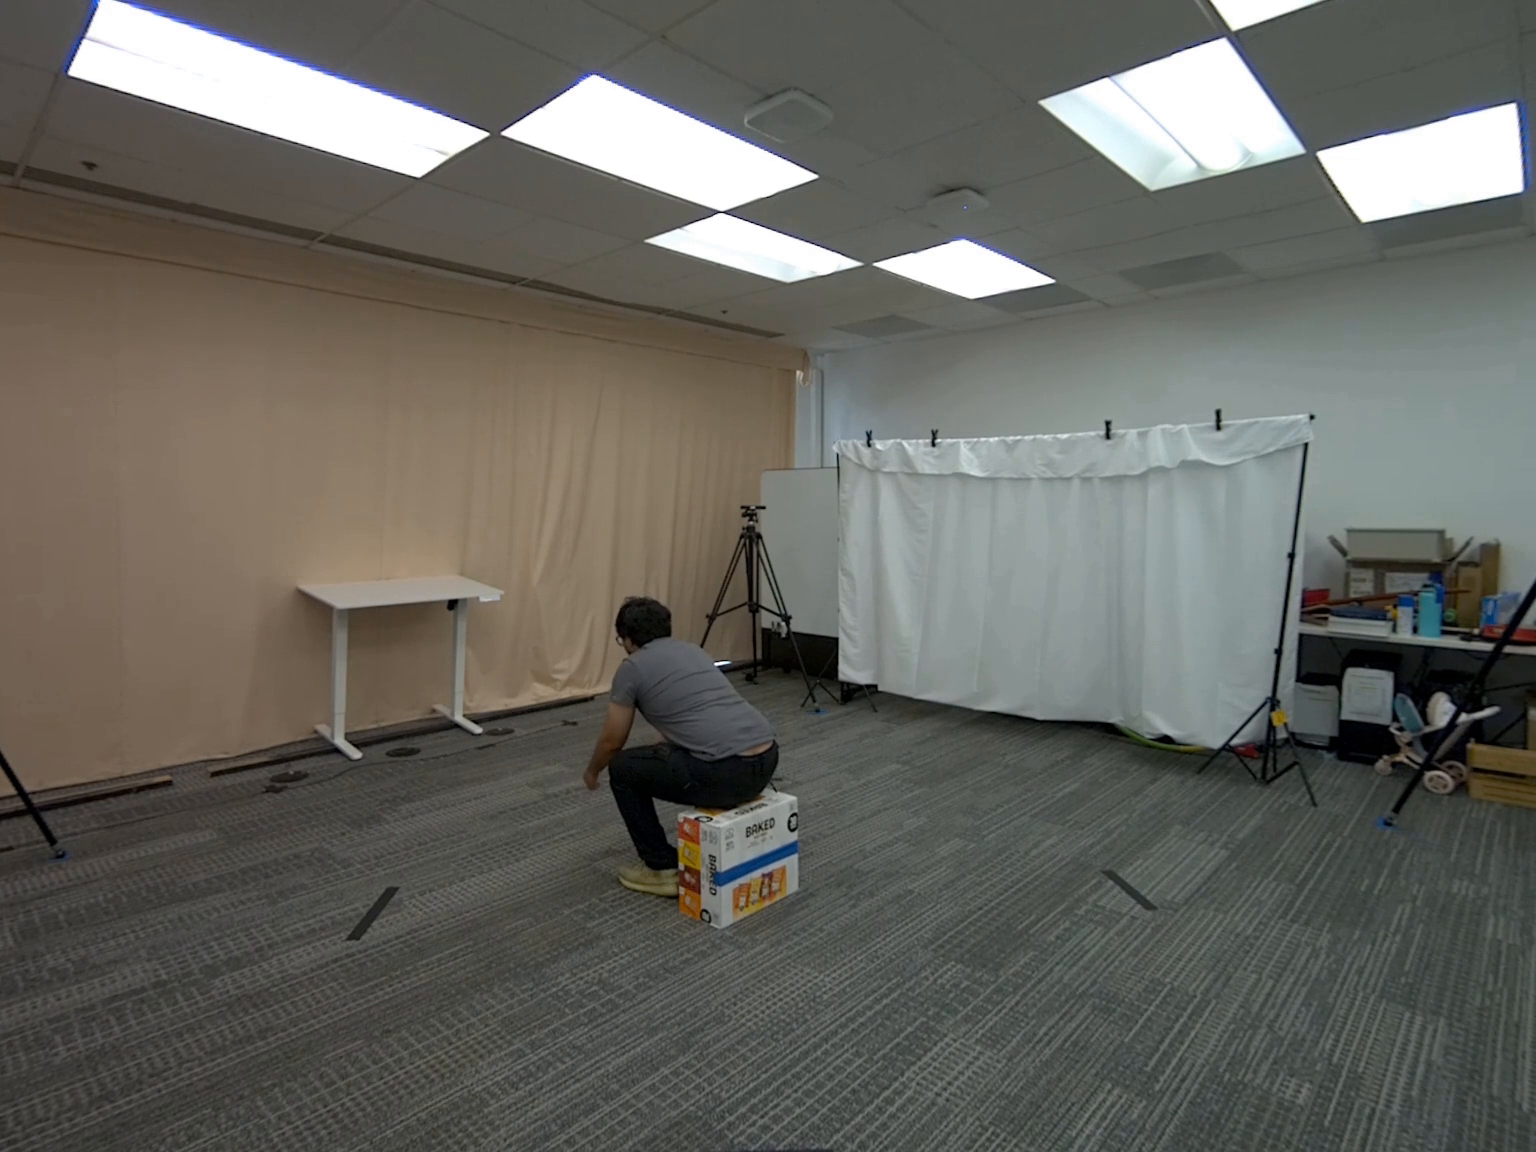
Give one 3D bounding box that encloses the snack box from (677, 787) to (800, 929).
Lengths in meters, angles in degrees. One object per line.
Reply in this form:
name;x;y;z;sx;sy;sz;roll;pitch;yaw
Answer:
snack box;-0.095;0.975;2.966;0.212;0.340;0.393;2;4;42
